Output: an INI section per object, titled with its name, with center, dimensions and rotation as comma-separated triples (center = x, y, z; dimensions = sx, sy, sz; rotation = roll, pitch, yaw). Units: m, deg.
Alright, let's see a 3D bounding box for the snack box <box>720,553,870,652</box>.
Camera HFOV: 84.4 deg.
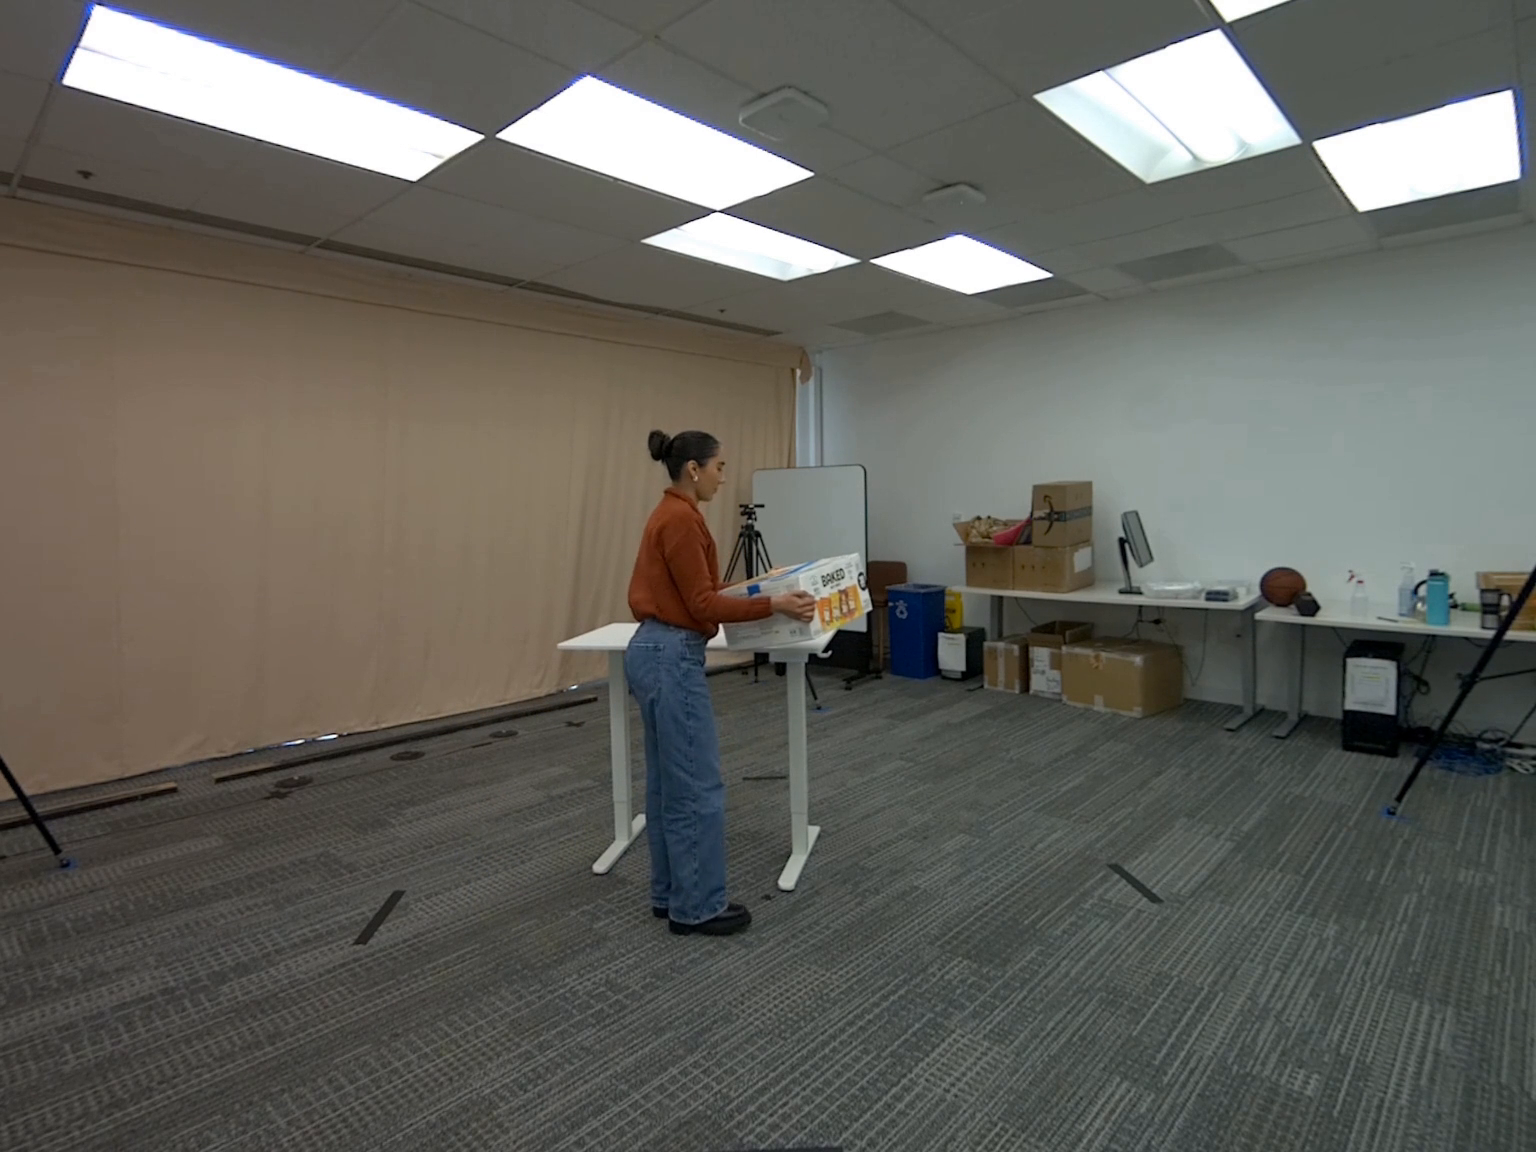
[snack box]
center = 0.093, 0.087, 2.811
dimensions = 0.349, 0.205, 0.395
rotation = -12, 4, 36
